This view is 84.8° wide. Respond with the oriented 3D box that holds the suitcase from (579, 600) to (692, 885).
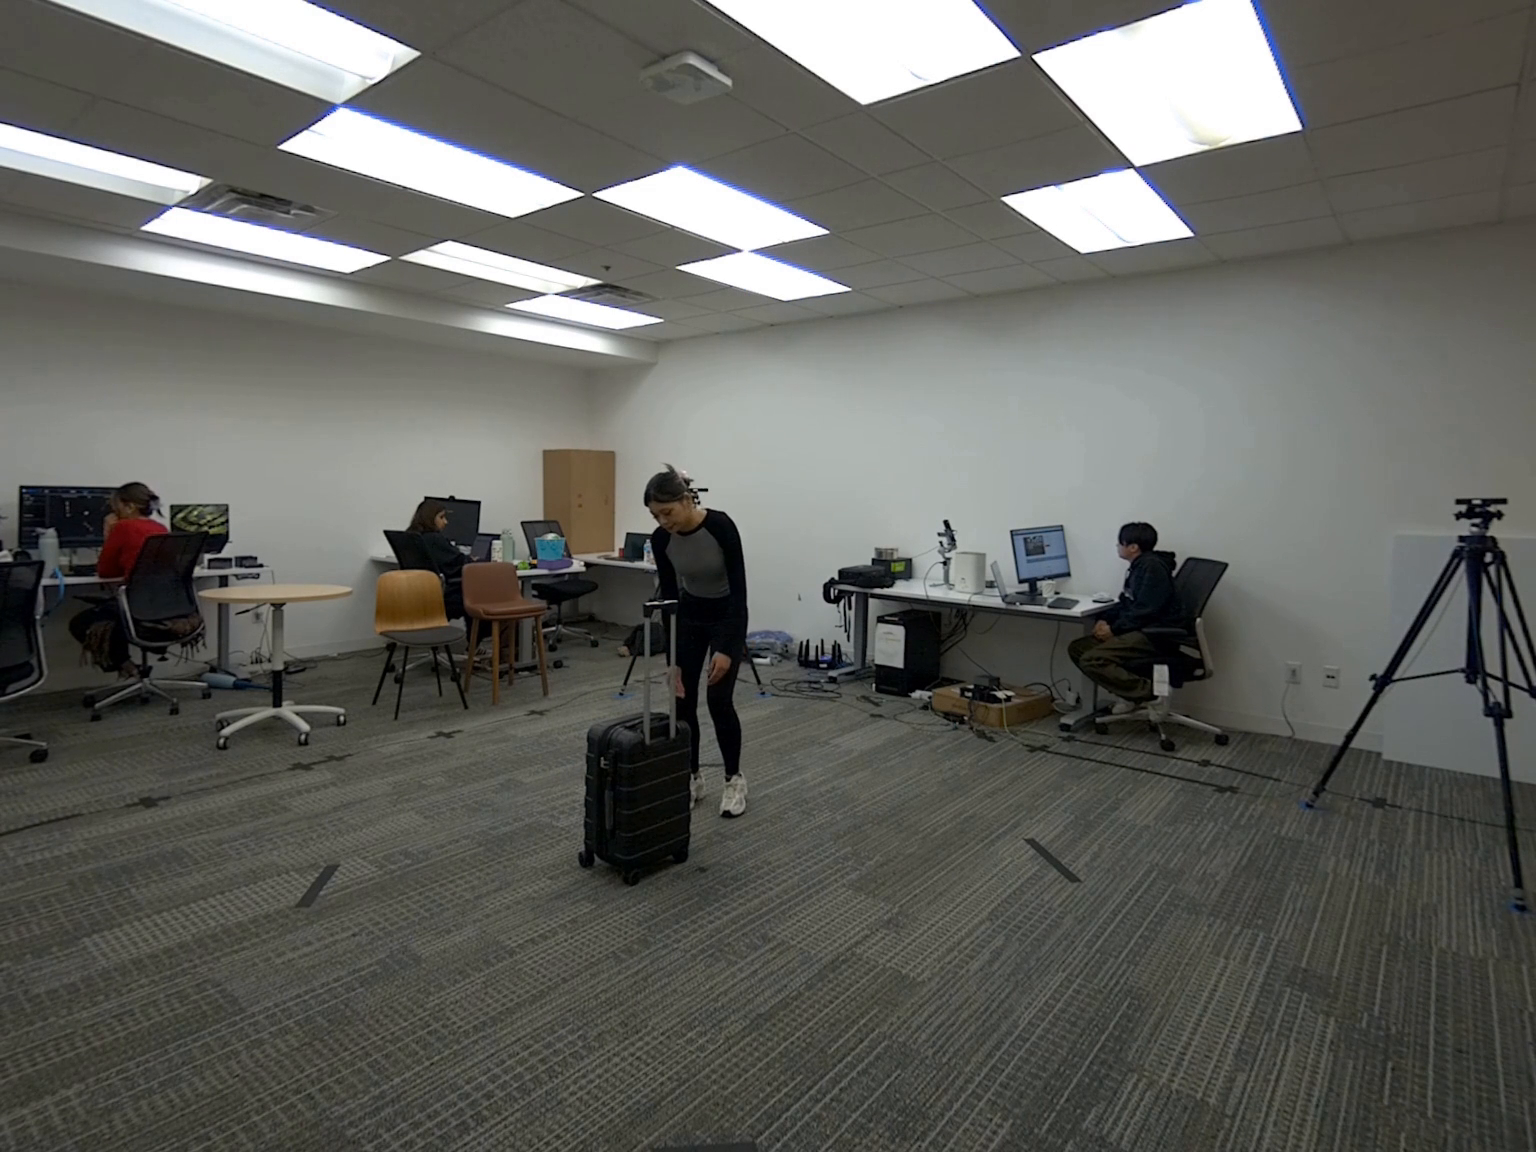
[{"bbox_3d":[-0.493,0.587,3.123,0.265,0.977,0.372,2,3,39],"label":"suitcase"}]
